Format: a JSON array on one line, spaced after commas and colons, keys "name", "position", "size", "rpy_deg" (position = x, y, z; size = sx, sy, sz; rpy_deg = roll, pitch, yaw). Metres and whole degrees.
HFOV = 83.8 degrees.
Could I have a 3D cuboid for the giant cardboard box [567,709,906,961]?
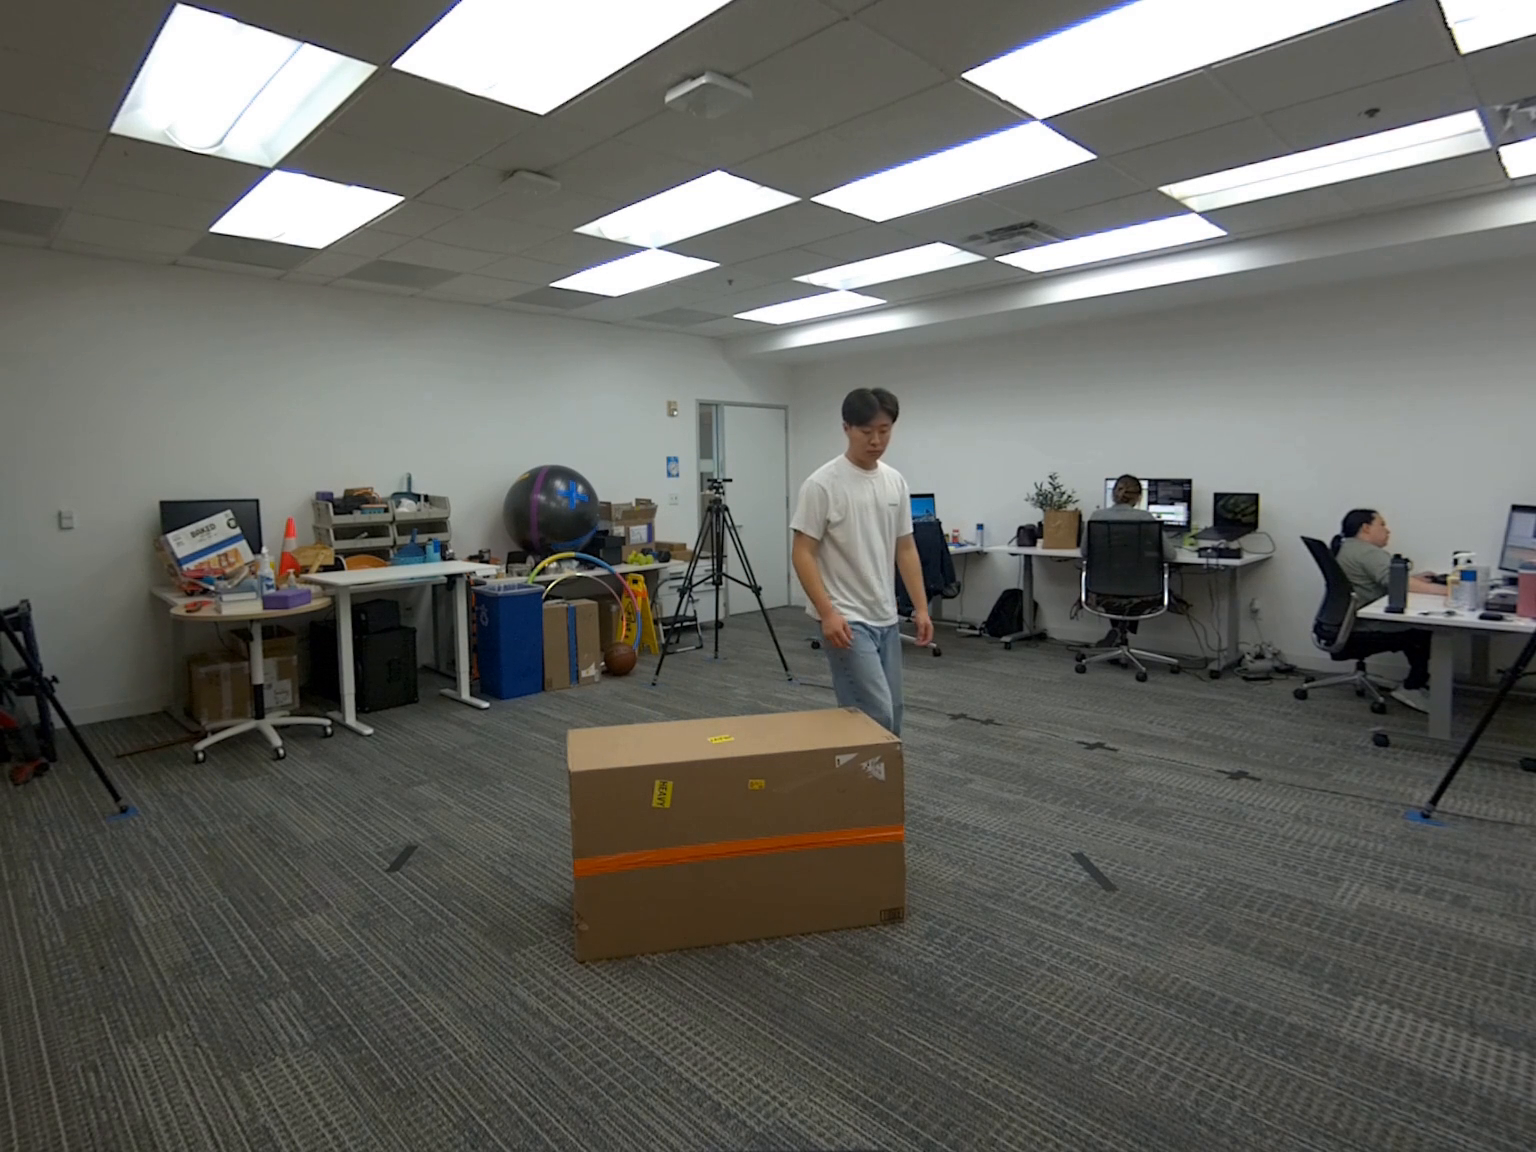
[{"name": "giant cardboard box", "position": [-0.121, 0.796, 2.761], "size": [1.015, 0.575, 0.432], "rpy_deg": [-2, 4, -11]}]
